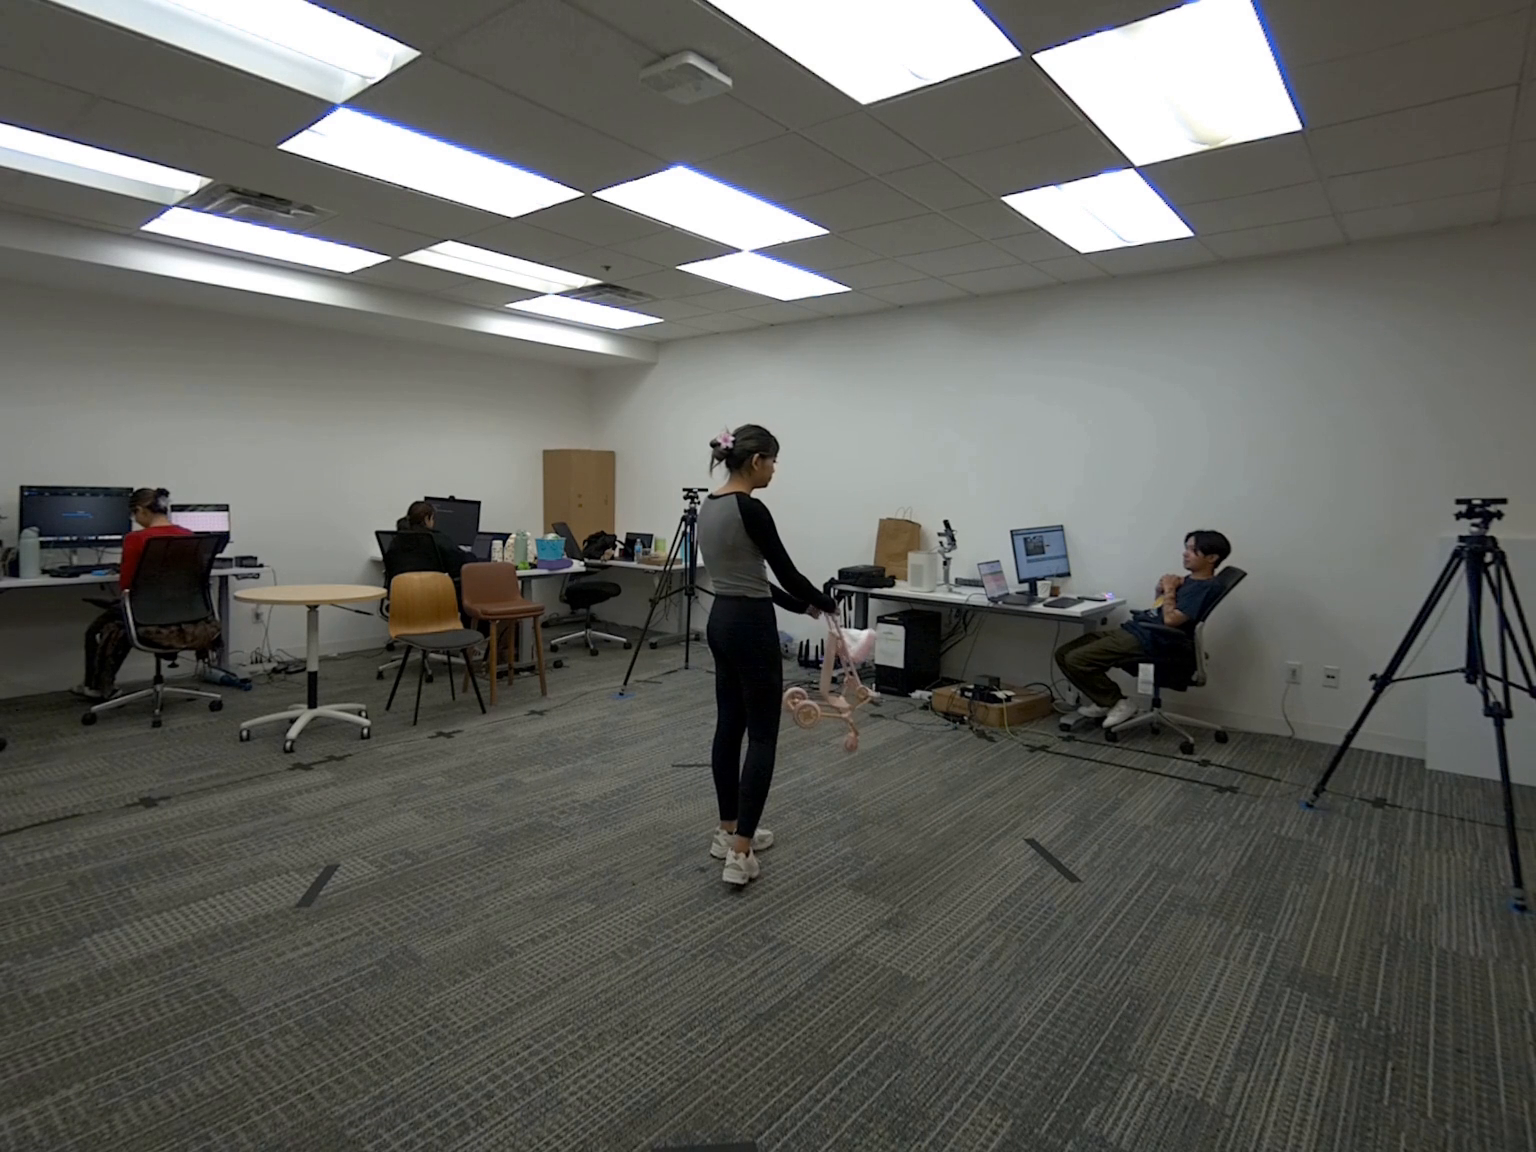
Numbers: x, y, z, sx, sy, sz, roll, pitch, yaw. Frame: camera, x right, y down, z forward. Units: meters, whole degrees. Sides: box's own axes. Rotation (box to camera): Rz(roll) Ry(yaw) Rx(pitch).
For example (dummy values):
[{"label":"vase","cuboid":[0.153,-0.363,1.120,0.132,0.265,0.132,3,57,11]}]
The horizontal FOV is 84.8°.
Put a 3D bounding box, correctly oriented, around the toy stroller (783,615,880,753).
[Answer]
[{"label":"toy stroller","cuboid":[0.284,0.416,3.409,0.341,0.535,0.282,20,0,-2]}]
